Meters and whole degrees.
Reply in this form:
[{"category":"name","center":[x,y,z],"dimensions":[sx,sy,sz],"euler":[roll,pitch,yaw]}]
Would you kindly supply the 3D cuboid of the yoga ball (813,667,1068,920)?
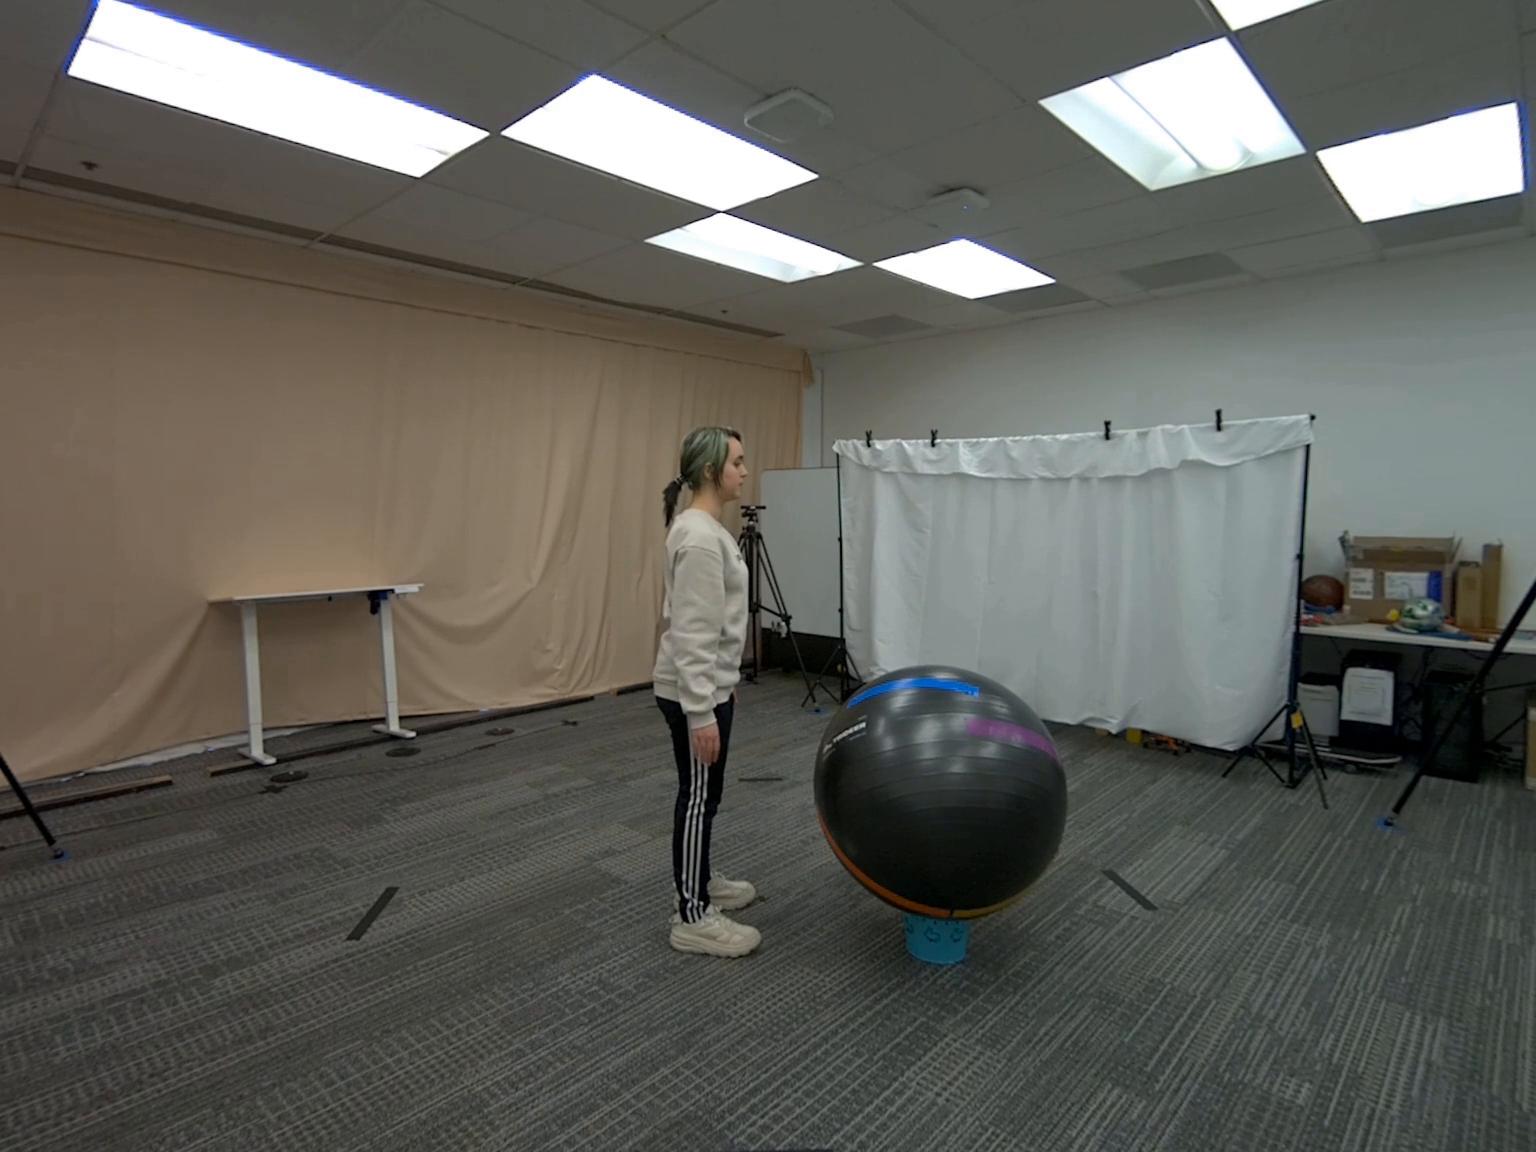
[{"category":"yoga ball","center":[0.537,0.664,2.622],"dimensions":[0.757,0.756,0.760],"euler":[0,4,-2]}]
